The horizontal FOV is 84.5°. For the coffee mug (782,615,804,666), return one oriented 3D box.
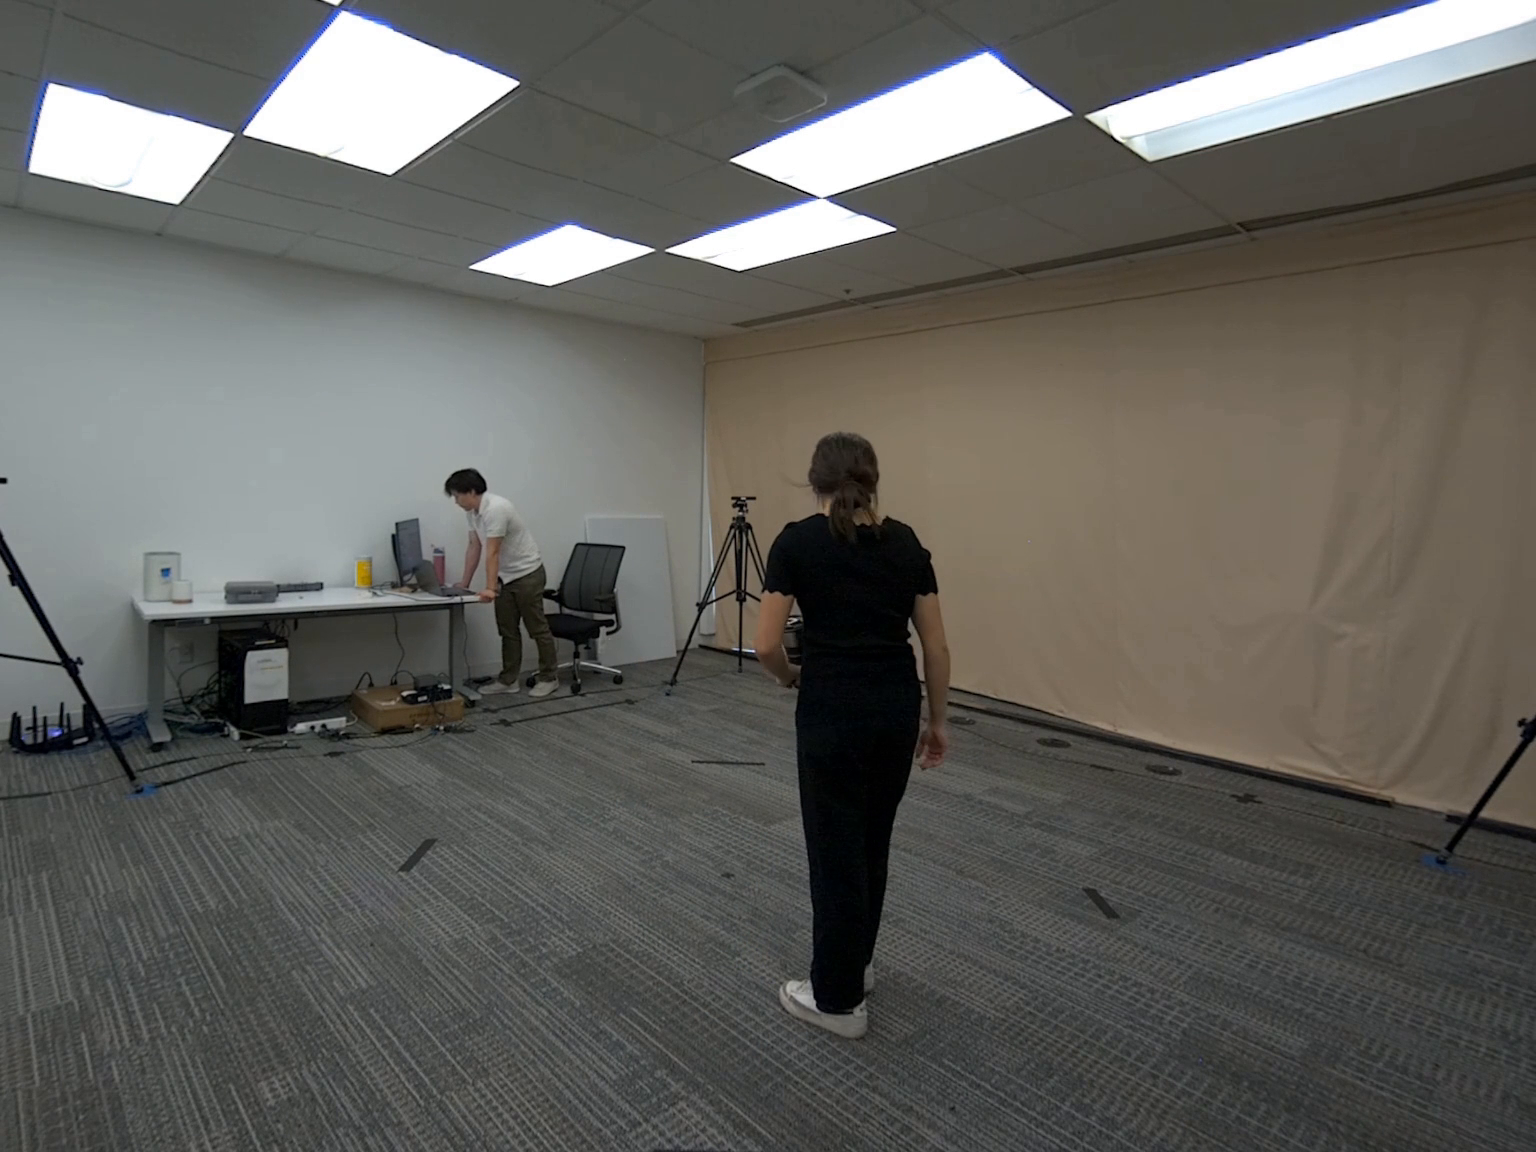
[{"bbox_3d":[0.096,0.227,2.441,0.087,0.201,0.124,-22,12,-24],"label":"coffee mug"}]
